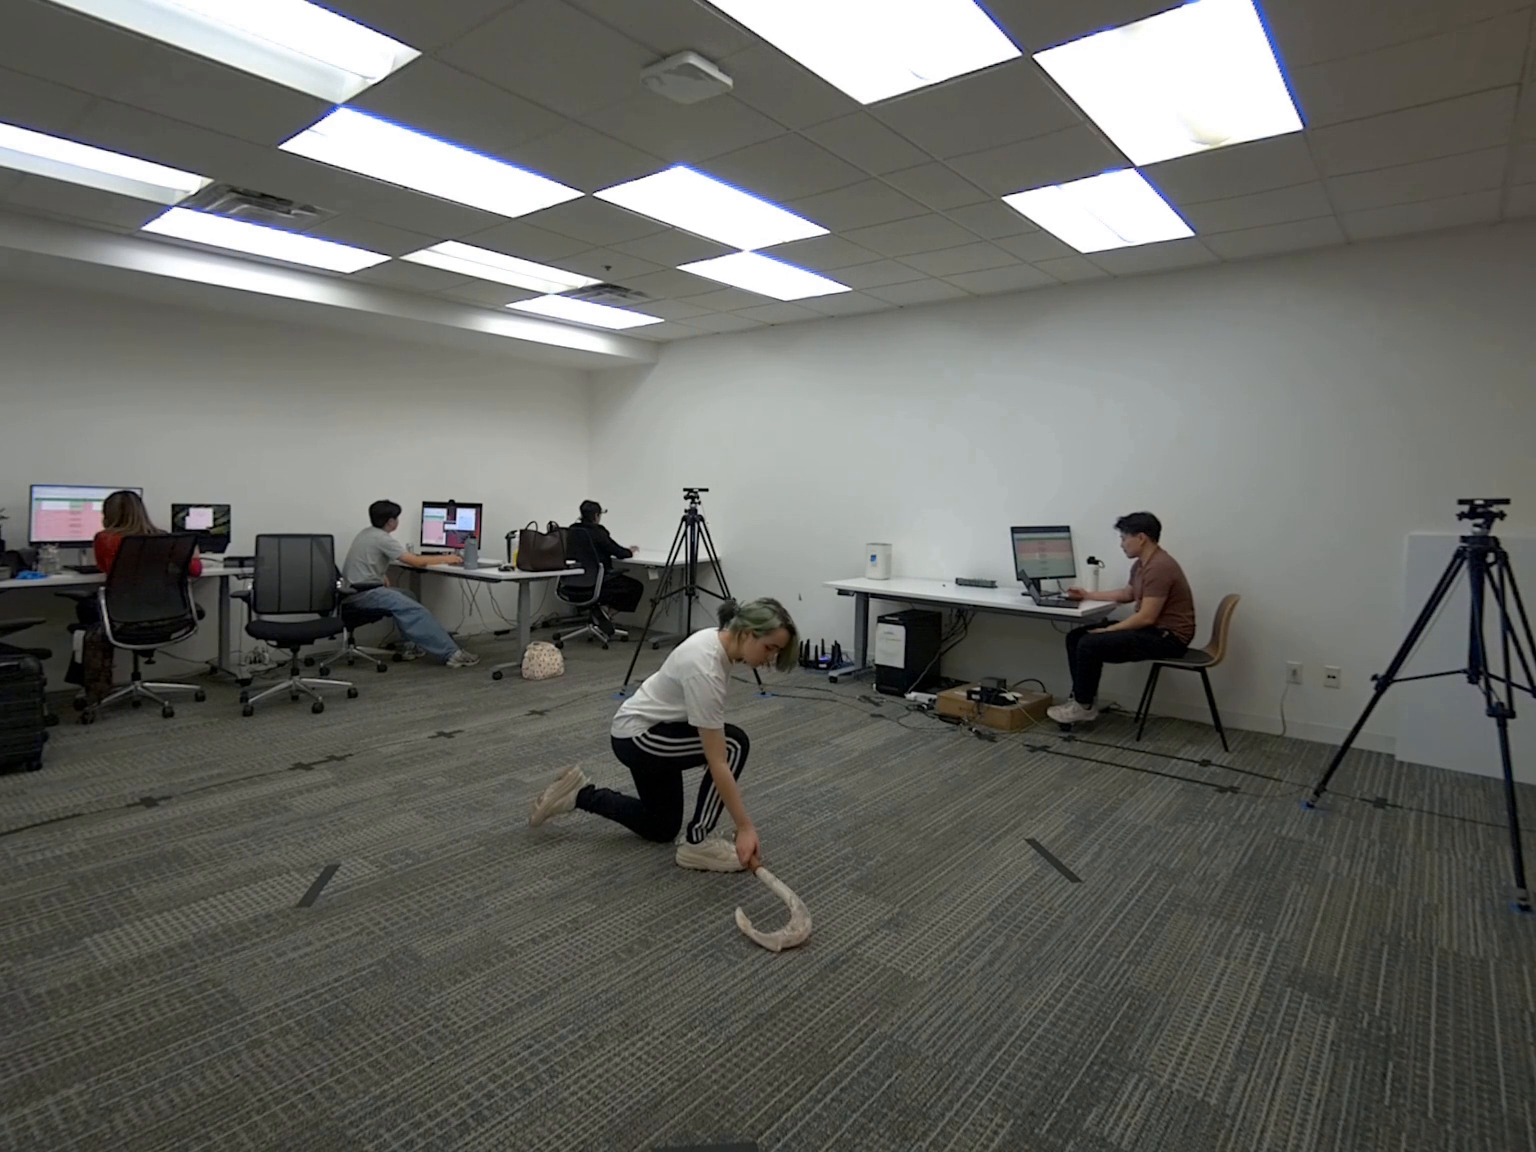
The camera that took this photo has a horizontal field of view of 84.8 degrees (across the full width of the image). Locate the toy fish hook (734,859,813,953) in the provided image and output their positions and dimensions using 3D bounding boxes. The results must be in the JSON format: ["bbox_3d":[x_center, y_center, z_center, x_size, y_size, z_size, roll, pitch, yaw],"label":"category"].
[{"bbox_3d":[-0.042,1.011,2.769,0.220,0.047,0.527,-8,25,-25],"label":"toy fish hook"}]
